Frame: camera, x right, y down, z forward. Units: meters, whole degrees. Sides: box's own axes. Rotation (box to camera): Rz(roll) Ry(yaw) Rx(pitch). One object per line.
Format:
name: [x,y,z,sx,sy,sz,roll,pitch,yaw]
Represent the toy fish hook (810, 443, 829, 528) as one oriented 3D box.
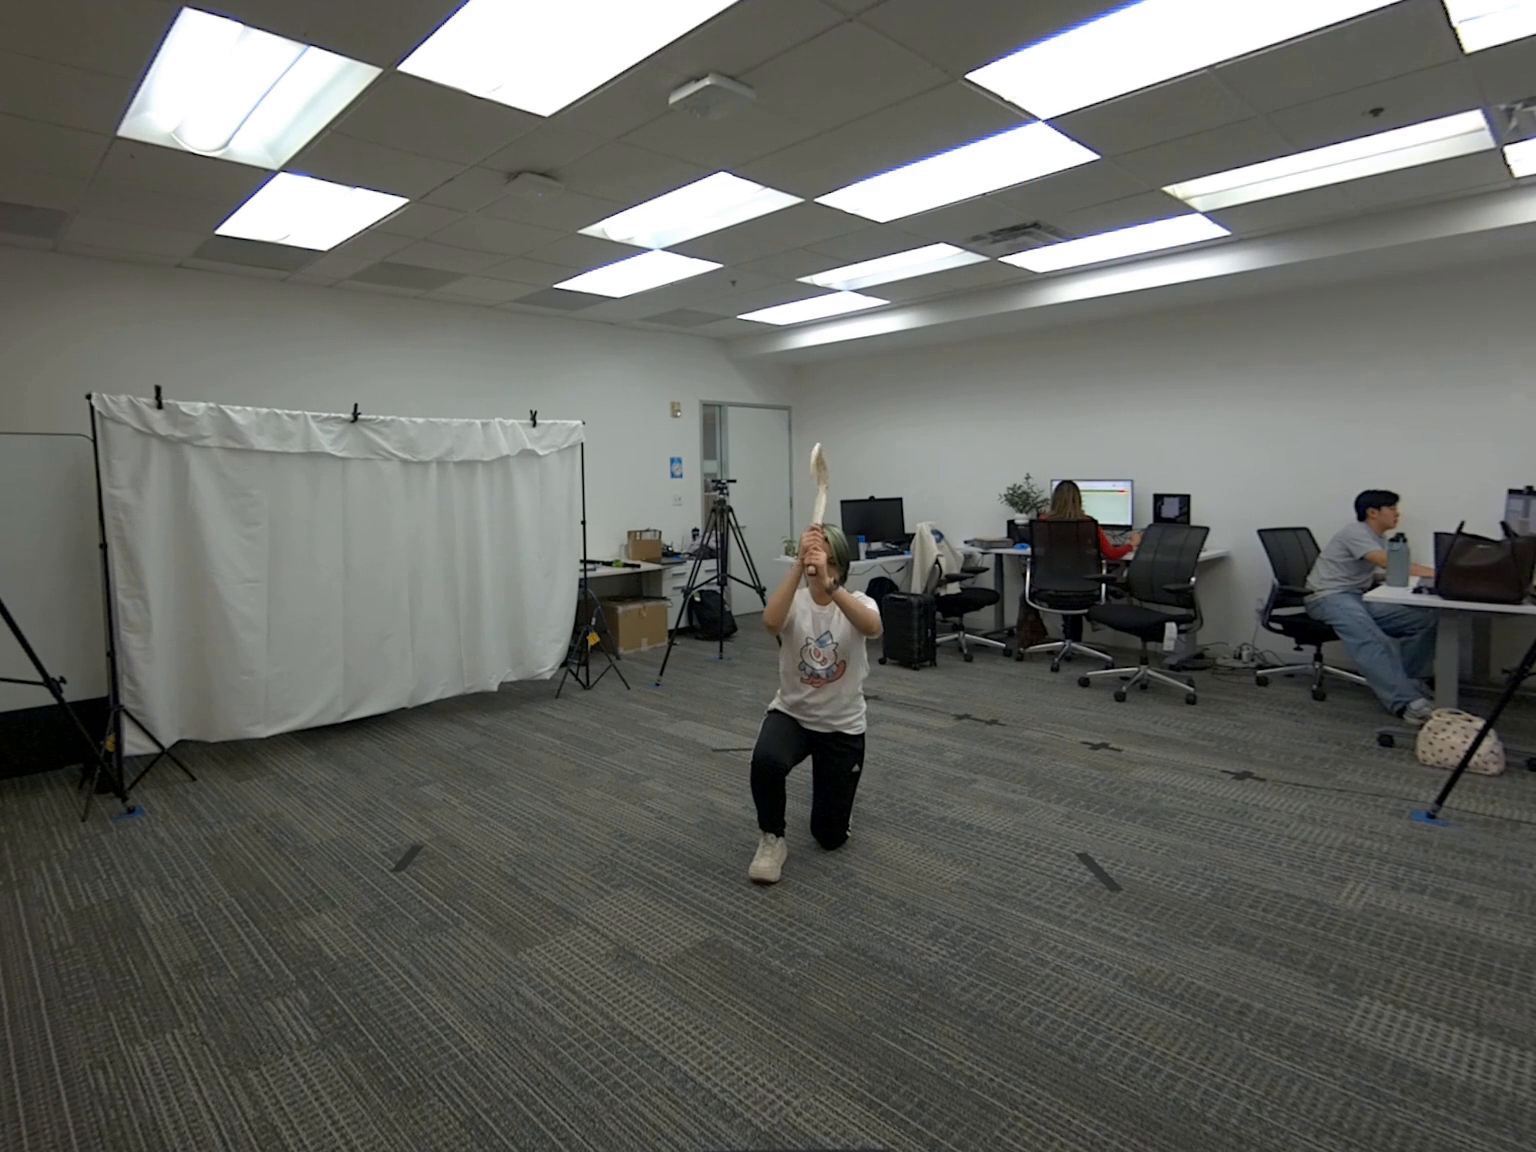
toy fish hook: [0.164,-0.230,2.938,0.049,0.517,0.216,-6,-36,18]
